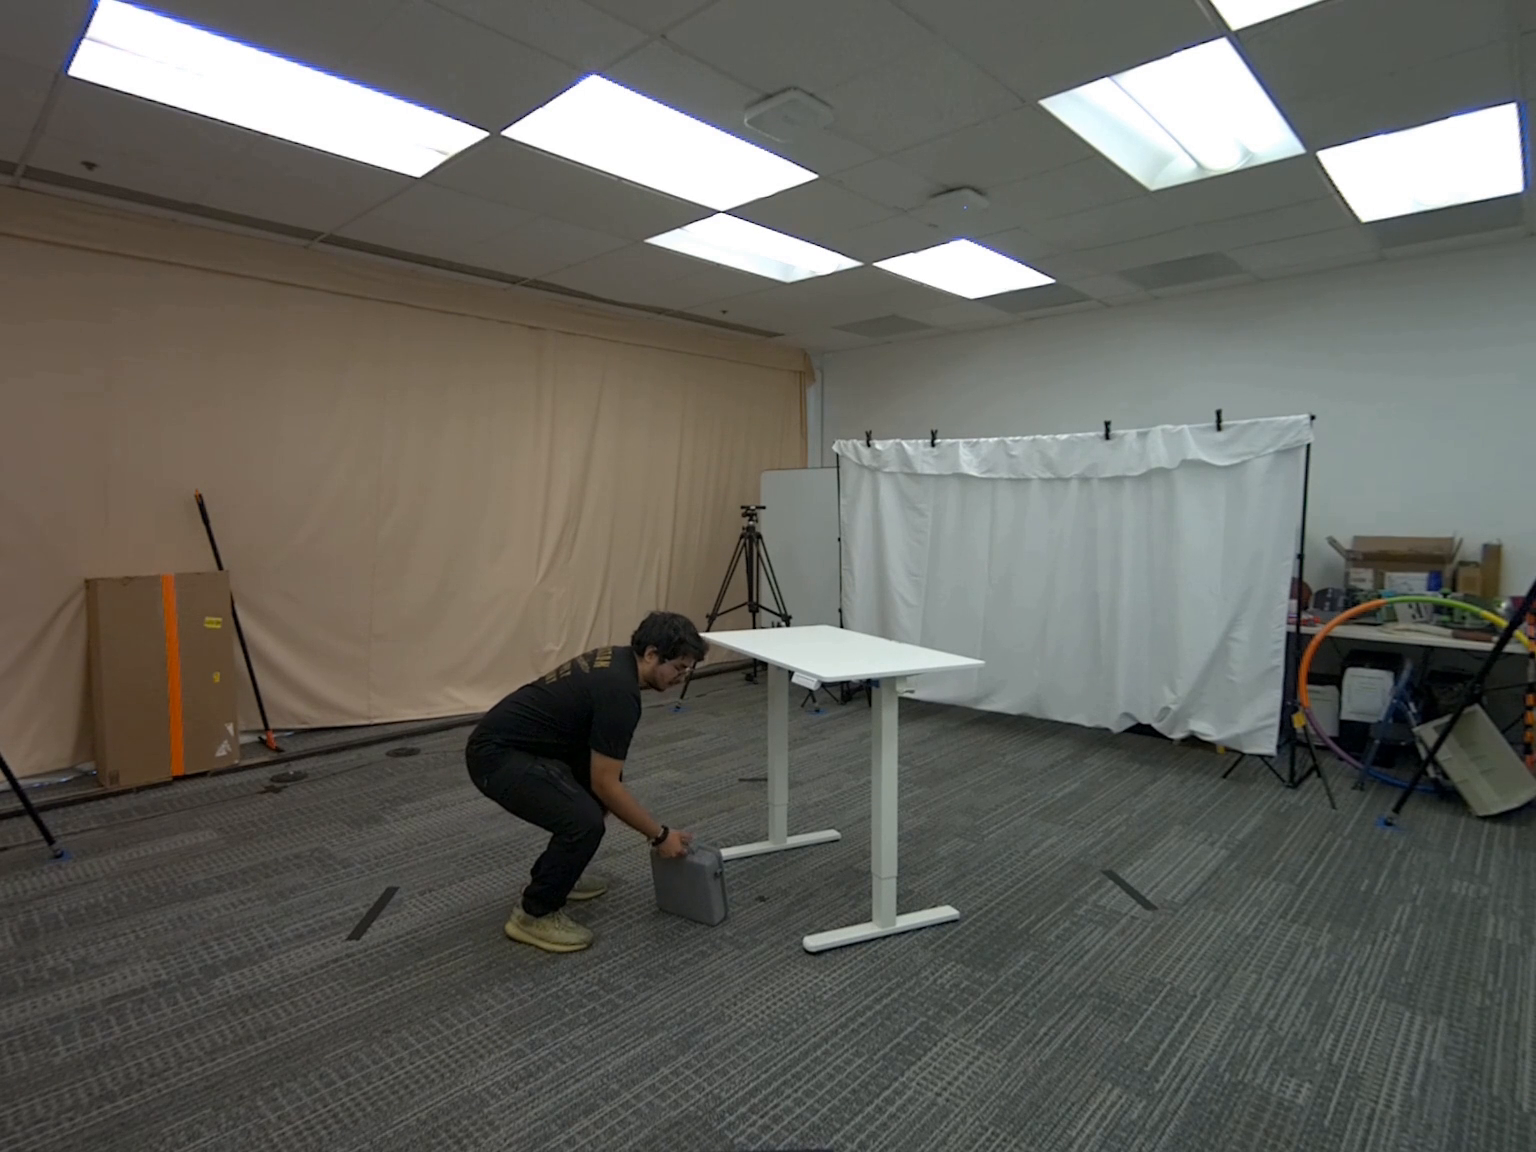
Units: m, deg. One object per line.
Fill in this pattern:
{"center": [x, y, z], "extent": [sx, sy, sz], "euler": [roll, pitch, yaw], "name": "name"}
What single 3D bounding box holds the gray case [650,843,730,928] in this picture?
{"center": [-0.262, 1.027, 2.847], "extent": [0.265, 0.258, 0.102], "euler": [2, 15, 33], "name": "gray case"}
